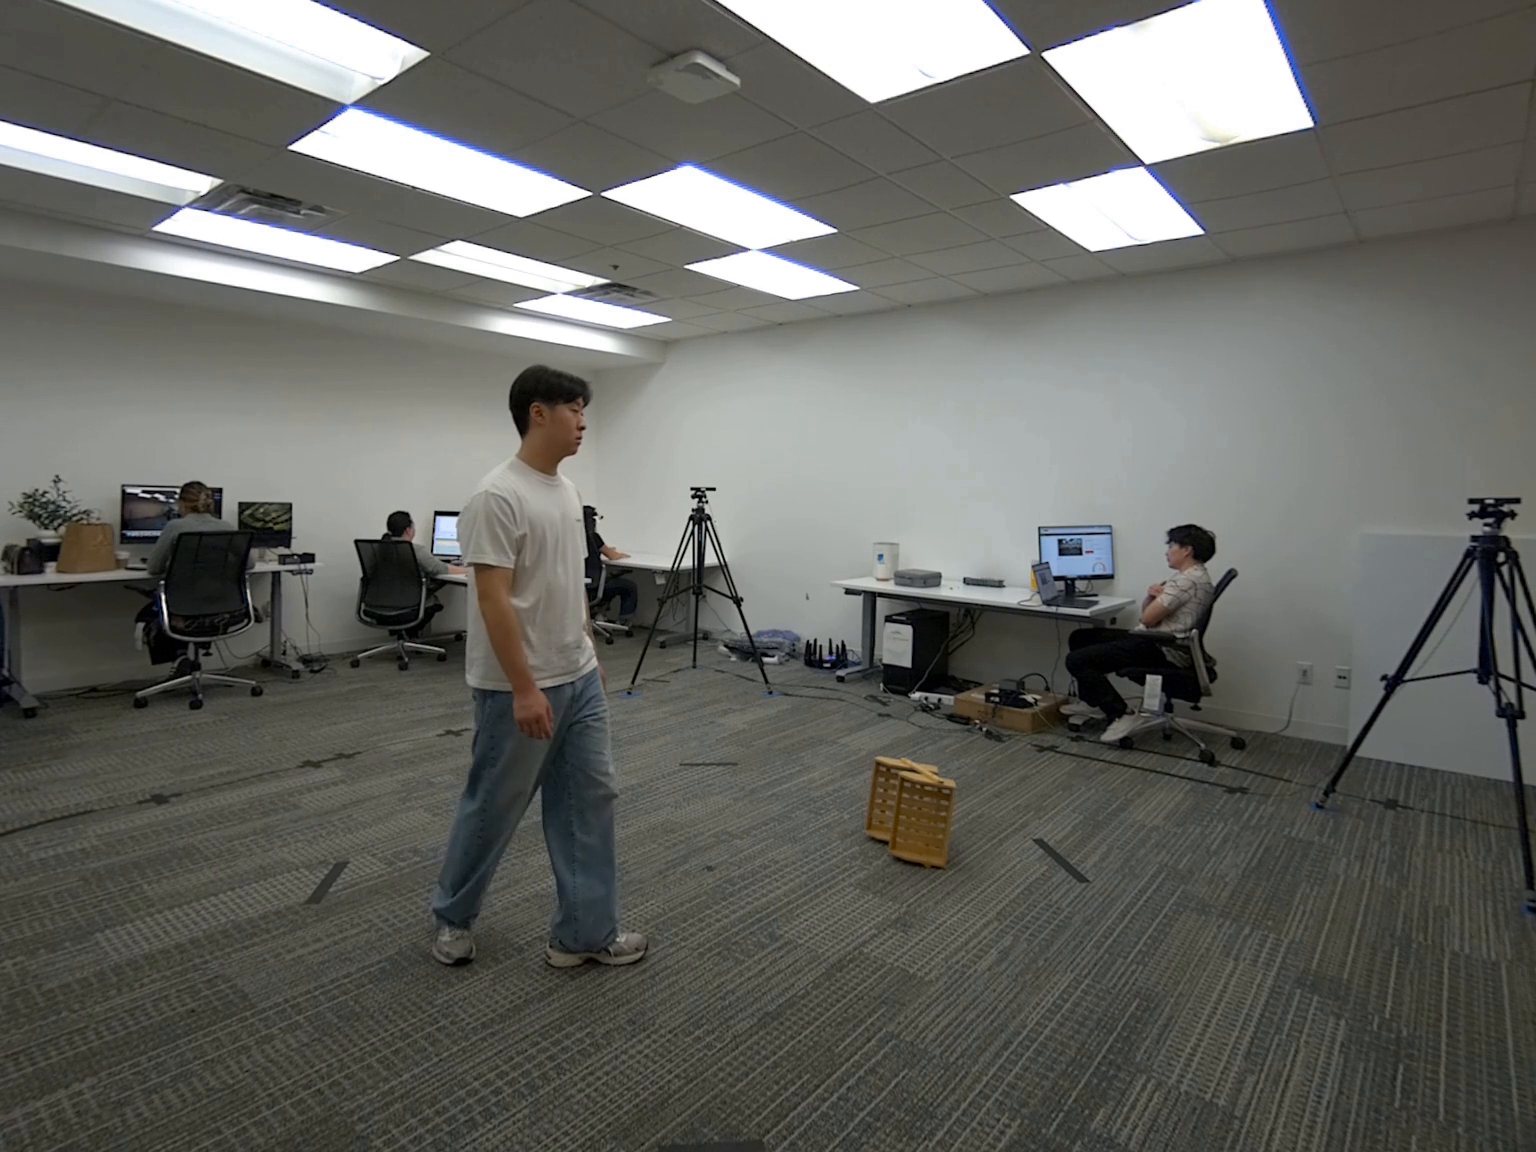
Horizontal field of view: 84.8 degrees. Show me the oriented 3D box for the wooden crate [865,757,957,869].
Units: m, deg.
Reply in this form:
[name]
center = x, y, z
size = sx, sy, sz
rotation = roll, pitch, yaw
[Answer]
[wooden crate]
center = 0.533, 0.898, 3.288
size = 0.305, 0.324, 0.271
rotation = 7, 2, 9
